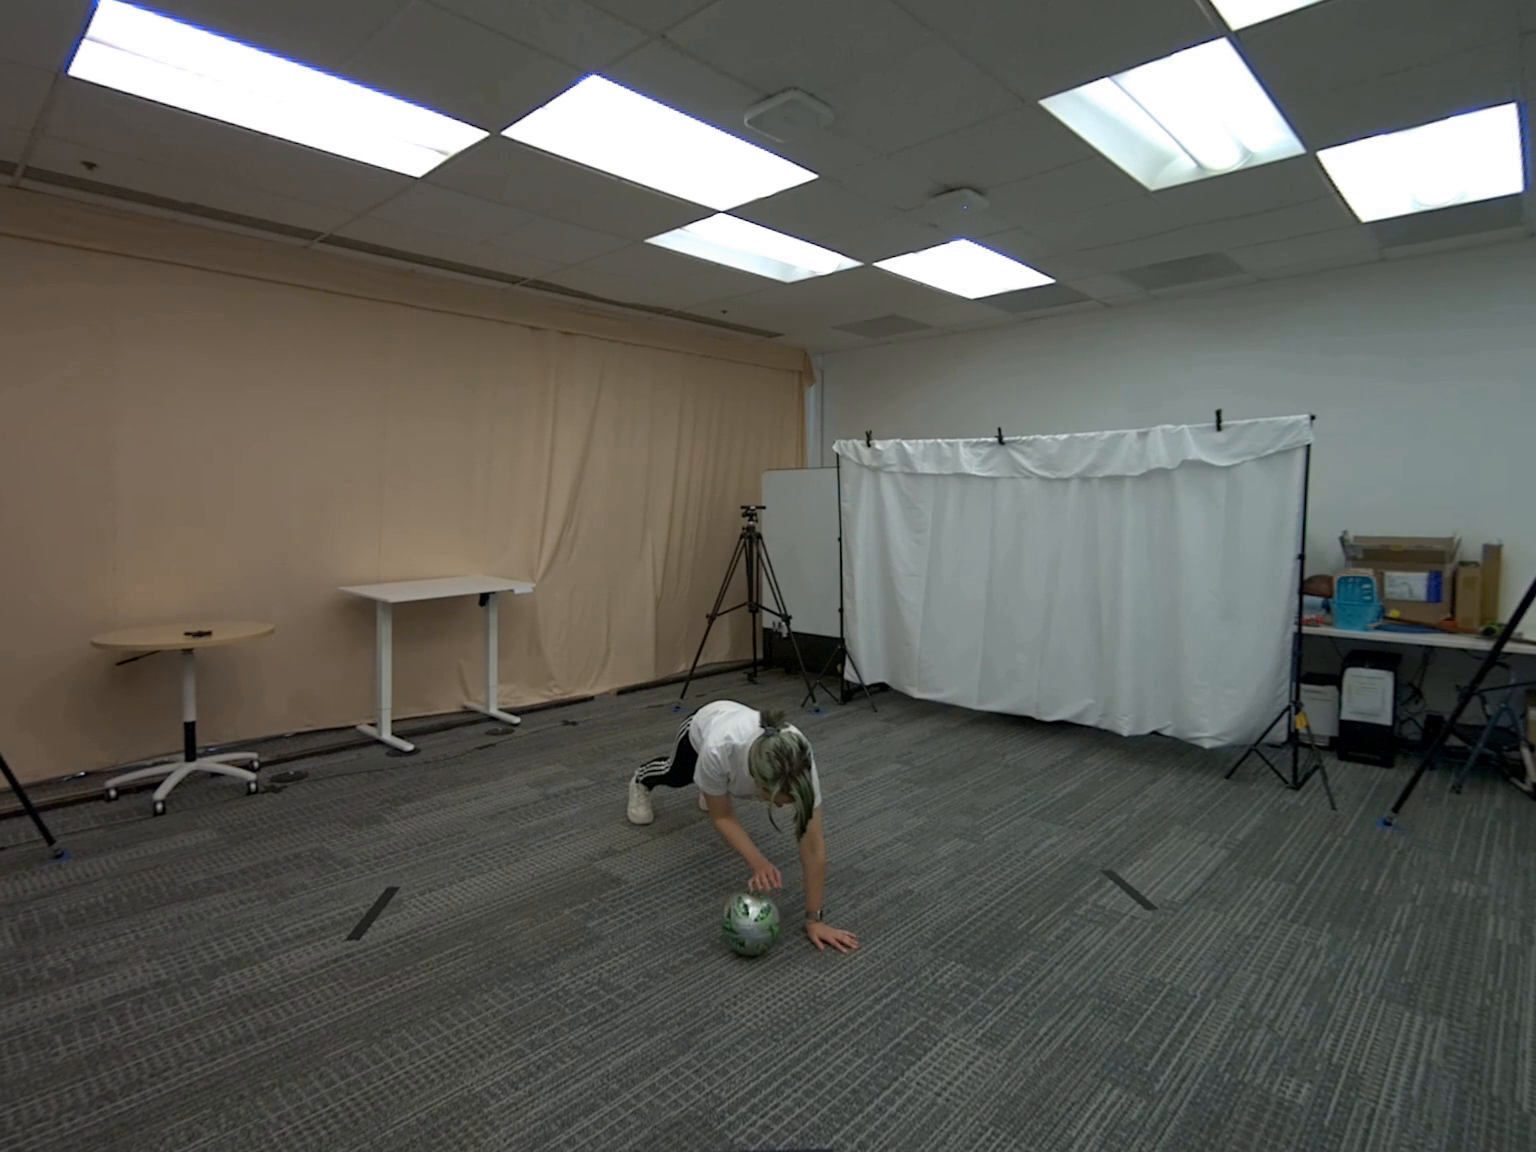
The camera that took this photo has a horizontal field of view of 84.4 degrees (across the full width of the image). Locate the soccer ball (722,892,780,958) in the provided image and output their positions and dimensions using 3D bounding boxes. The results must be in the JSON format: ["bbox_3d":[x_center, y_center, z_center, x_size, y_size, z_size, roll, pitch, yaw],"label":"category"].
[{"bbox_3d":[-0.058,1.074,2.628,0.187,0.187,0.188,0,4,-2],"label":"soccer ball"}]
